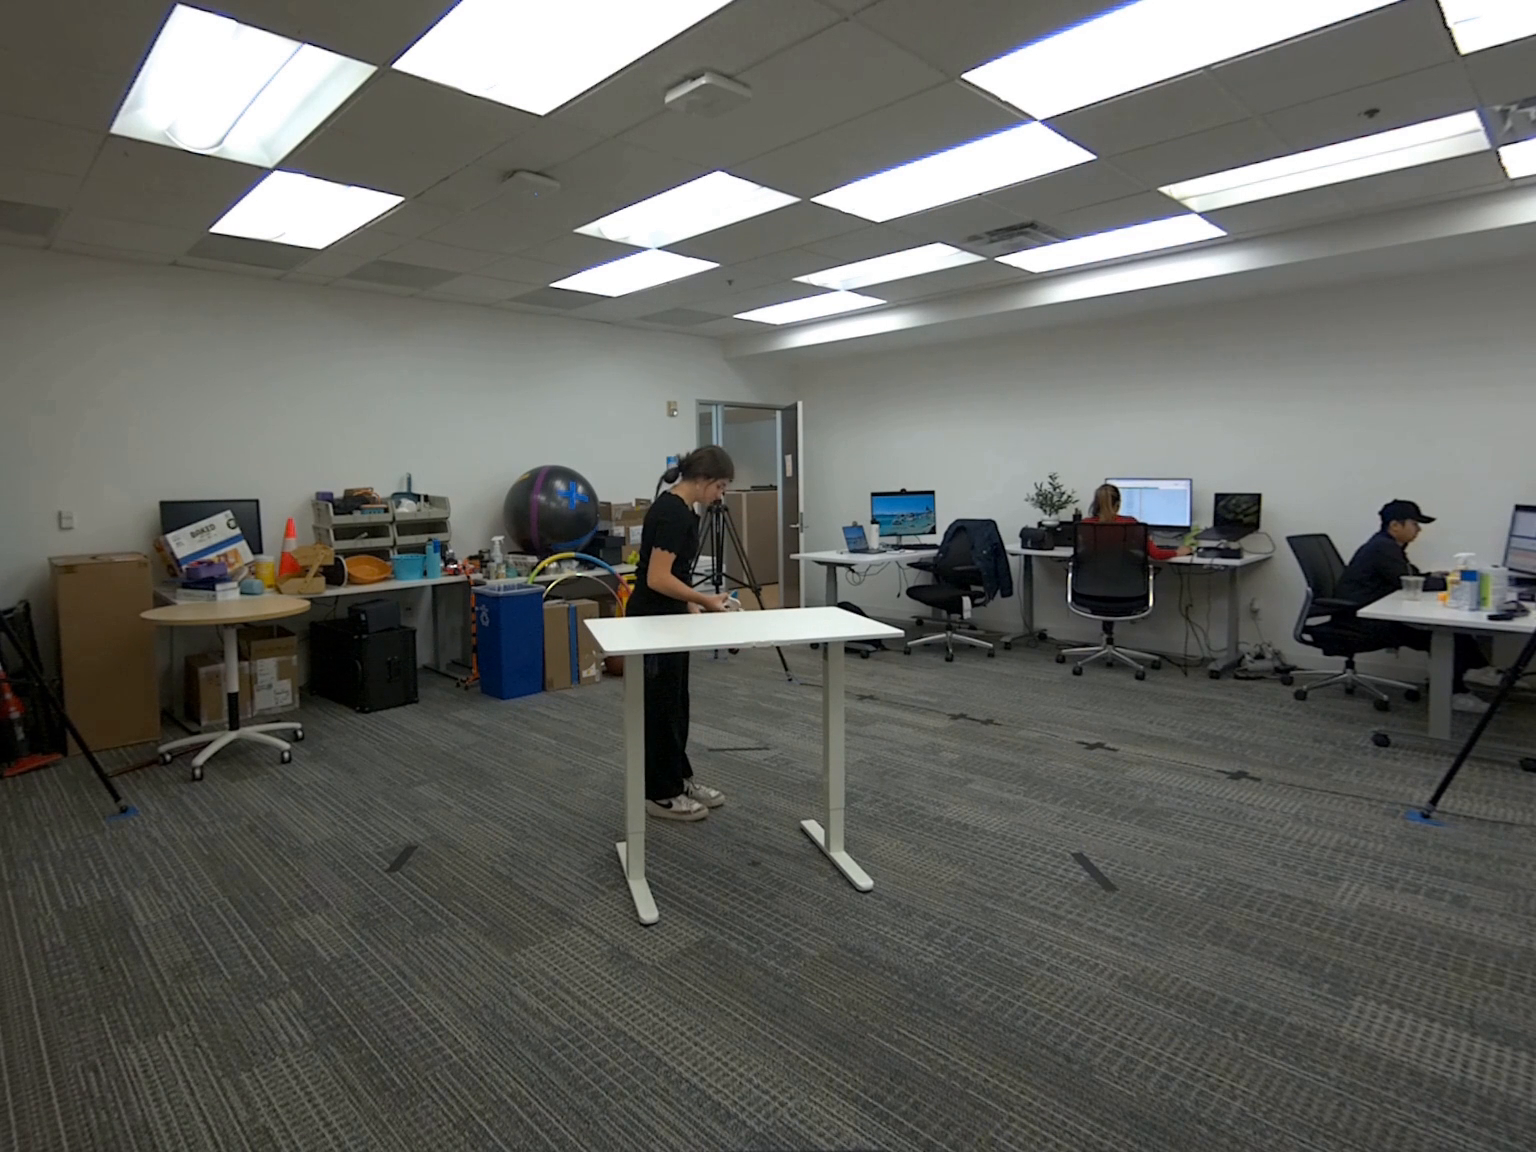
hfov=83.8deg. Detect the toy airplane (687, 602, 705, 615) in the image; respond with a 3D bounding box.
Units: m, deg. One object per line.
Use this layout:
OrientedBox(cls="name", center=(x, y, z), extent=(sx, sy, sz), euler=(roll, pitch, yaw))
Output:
OrientedBox(cls="toy airplane", center=(-0.136, 0.202, 3.546), extent=(0.256, 0.256, 0.155), euler=(39, 39, 14))
